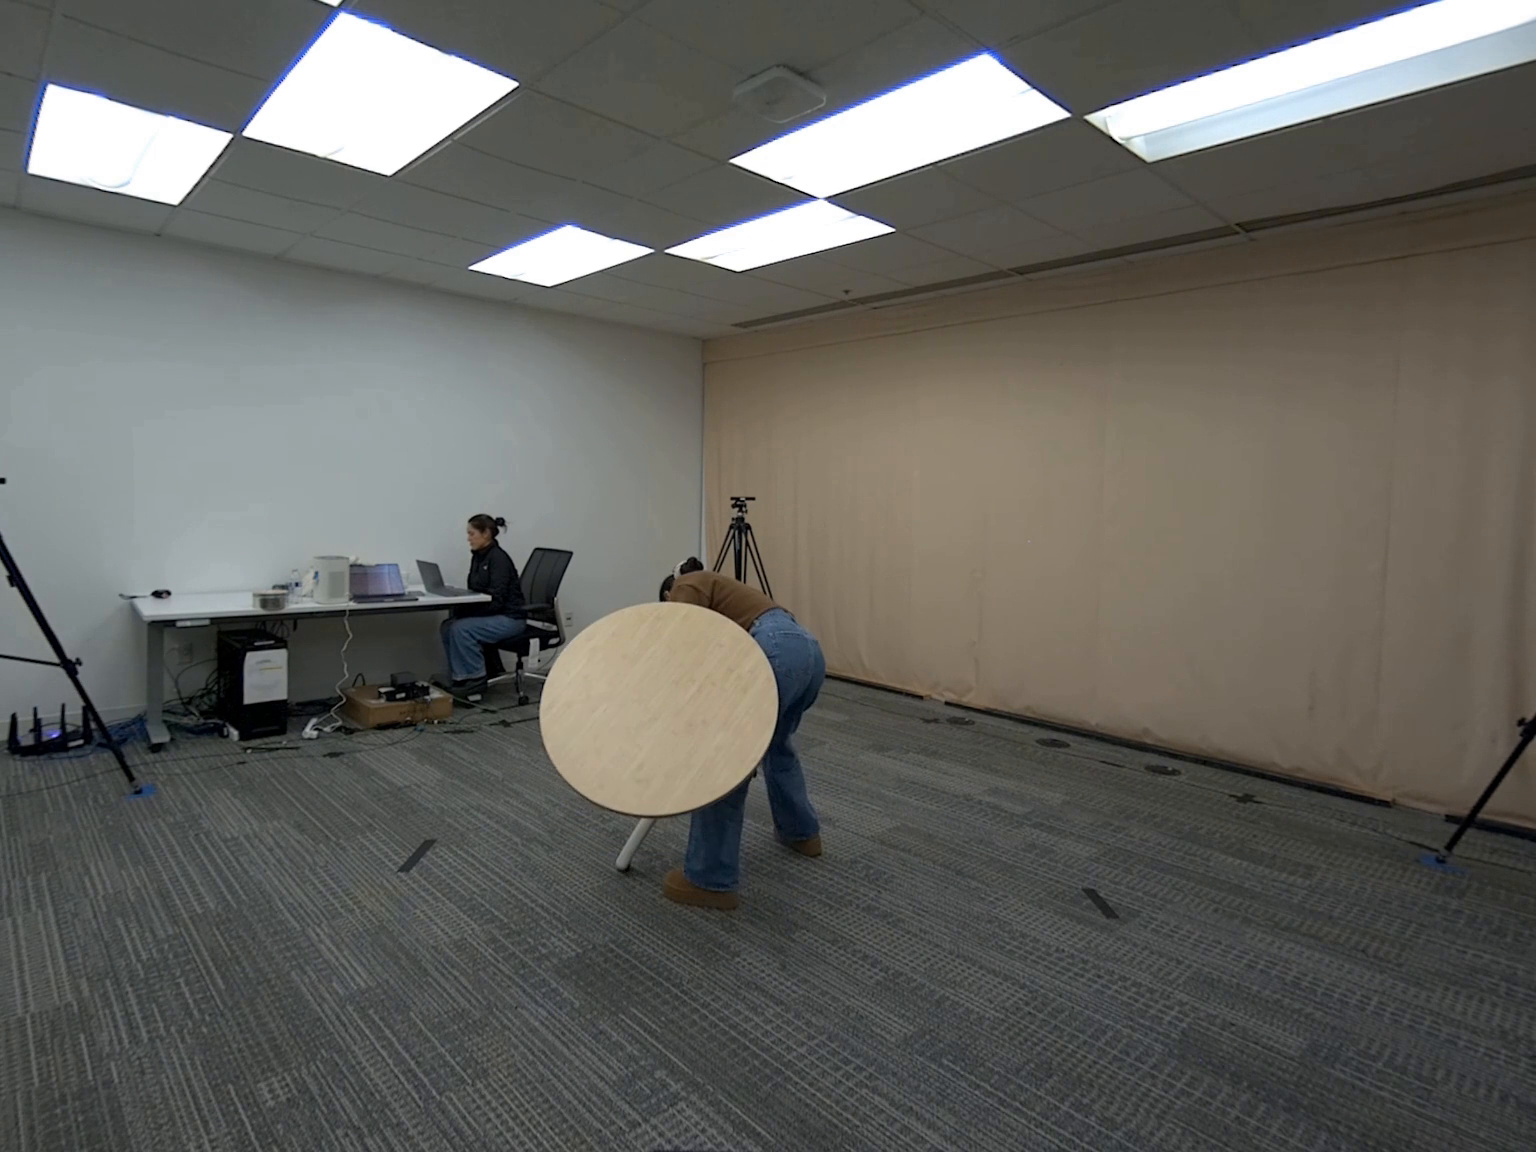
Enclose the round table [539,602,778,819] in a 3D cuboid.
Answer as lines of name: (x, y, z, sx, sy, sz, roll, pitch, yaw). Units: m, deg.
round table: (-0.366, 0.636, 3.023, 0.764, 0.780, 0.777, 1, -38, 0)
